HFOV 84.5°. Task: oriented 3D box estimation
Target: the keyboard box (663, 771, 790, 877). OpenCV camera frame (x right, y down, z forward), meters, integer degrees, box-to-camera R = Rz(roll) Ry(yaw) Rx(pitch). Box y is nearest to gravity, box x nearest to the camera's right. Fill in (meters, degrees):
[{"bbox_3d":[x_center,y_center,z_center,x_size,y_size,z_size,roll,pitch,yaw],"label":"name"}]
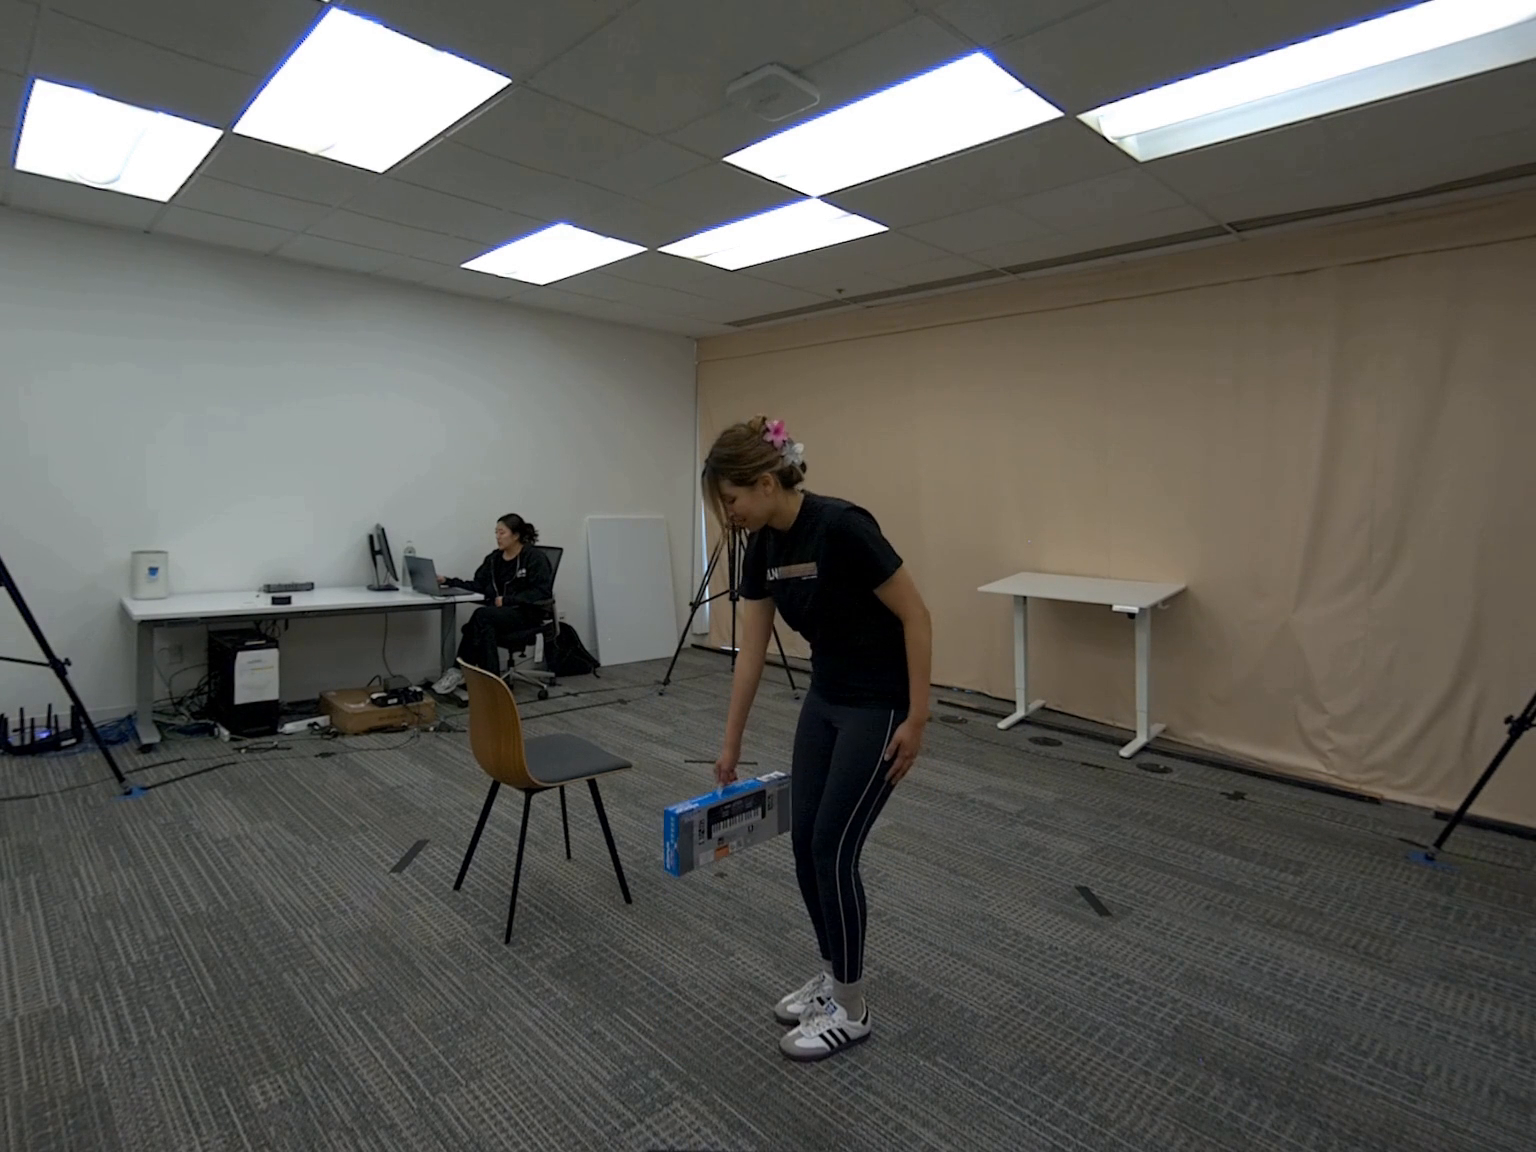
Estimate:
[{"bbox_3d":[-0.108,0.695,2.366,0.060,0.175,0.427,6,8,44],"label":"keyboard box"}]
